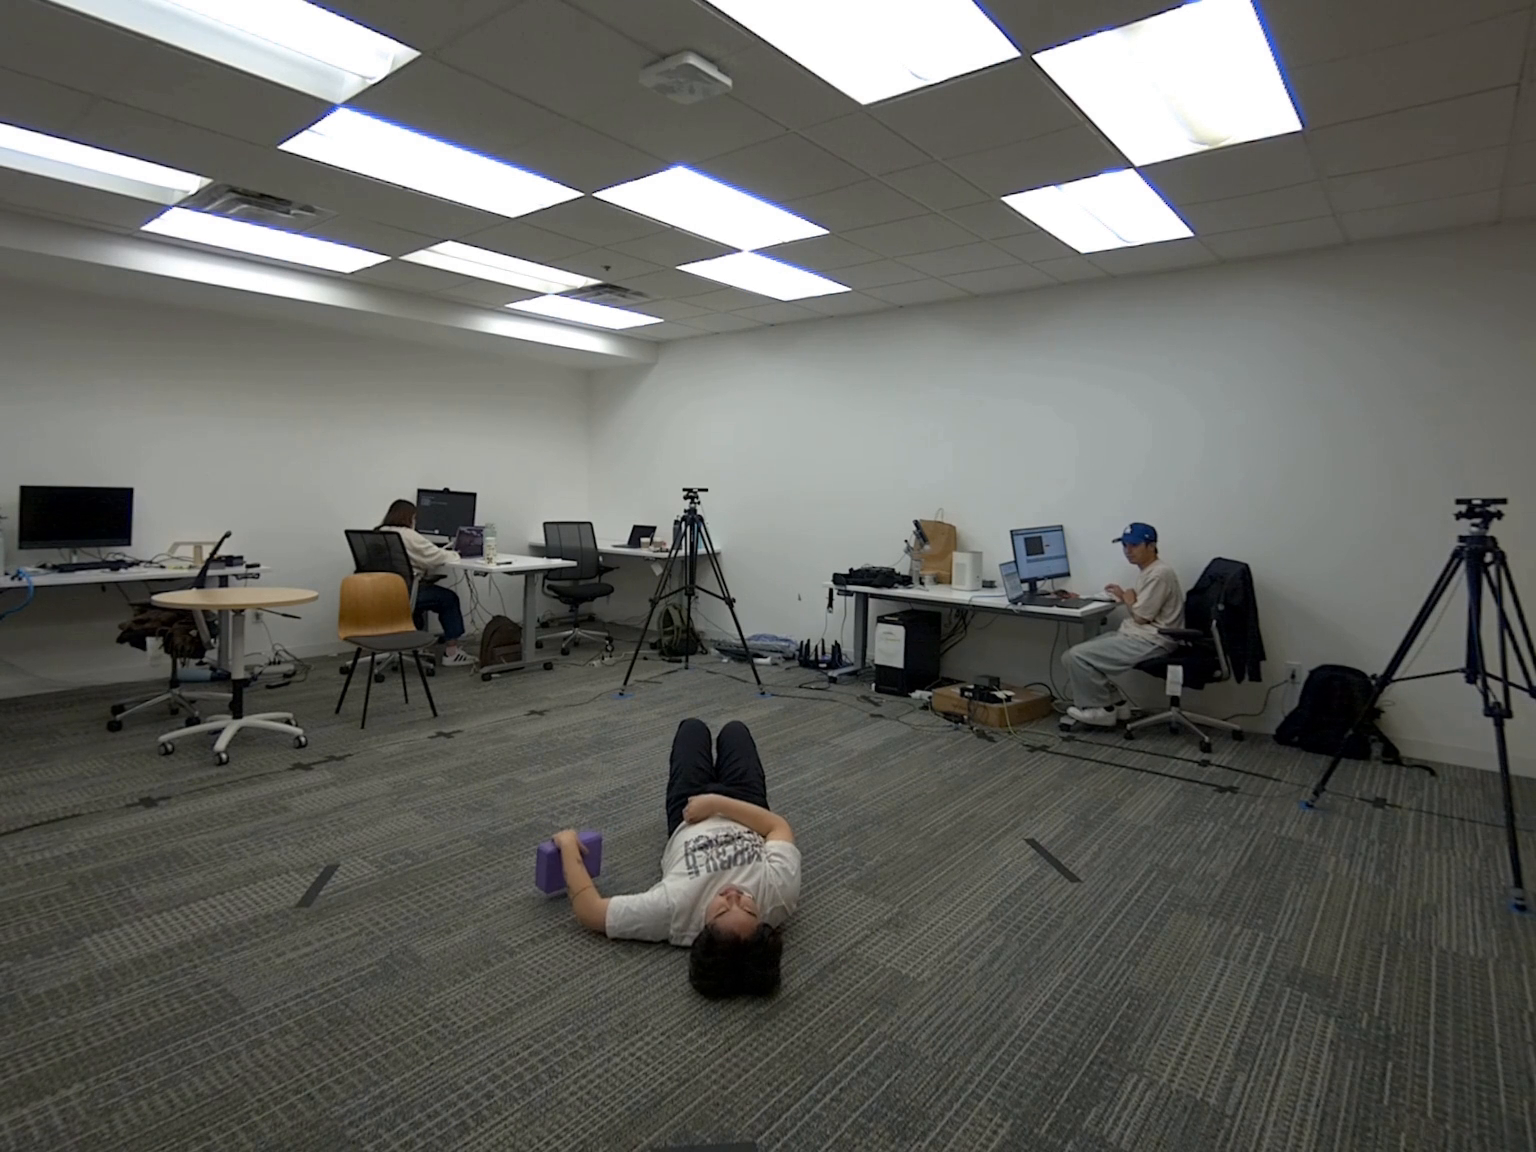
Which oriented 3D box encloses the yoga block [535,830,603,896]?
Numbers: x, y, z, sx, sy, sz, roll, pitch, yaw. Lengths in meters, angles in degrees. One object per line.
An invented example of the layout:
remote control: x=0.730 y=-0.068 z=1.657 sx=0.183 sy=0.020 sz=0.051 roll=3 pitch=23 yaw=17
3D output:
yoga block: x=-0.692 y=0.969 z=2.906 sx=0.079 sy=0.148 sz=0.222 roll=5 pitch=5 yaw=43
